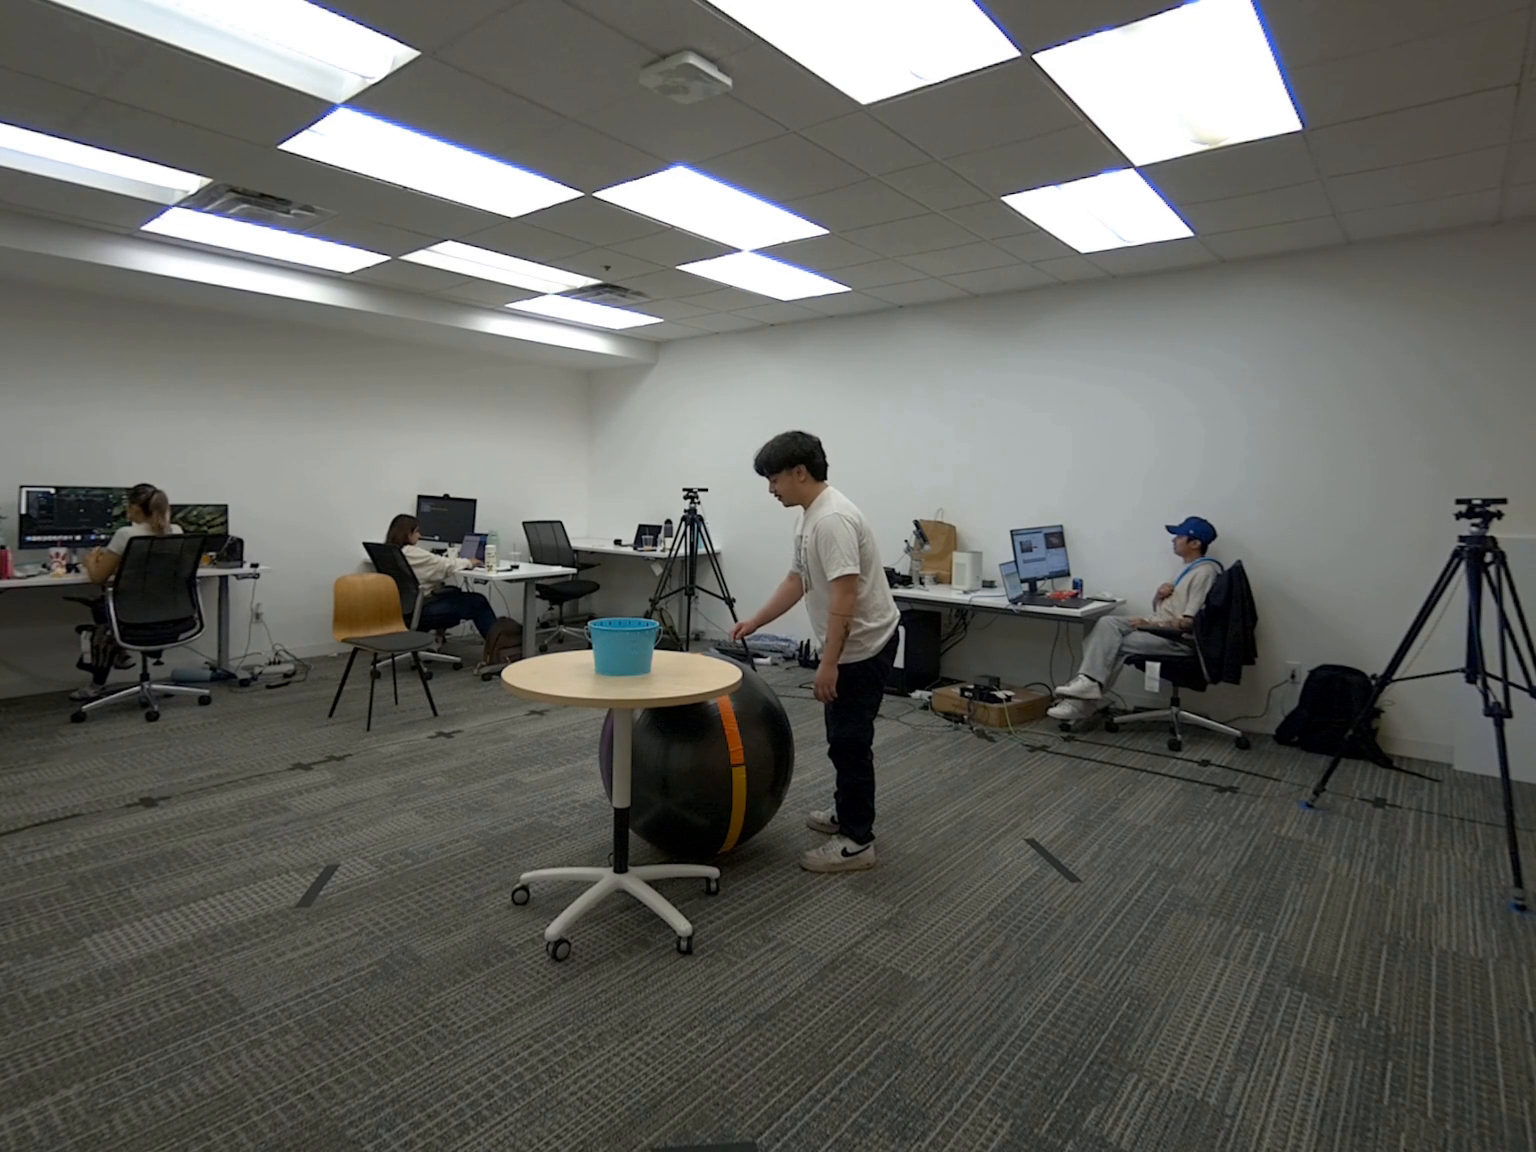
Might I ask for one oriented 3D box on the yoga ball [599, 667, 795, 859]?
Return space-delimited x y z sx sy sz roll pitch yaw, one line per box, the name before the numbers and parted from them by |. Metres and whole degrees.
yoga ball | -0.288 0.678 3.297 0.757 0.756 0.761 1 4 -2
